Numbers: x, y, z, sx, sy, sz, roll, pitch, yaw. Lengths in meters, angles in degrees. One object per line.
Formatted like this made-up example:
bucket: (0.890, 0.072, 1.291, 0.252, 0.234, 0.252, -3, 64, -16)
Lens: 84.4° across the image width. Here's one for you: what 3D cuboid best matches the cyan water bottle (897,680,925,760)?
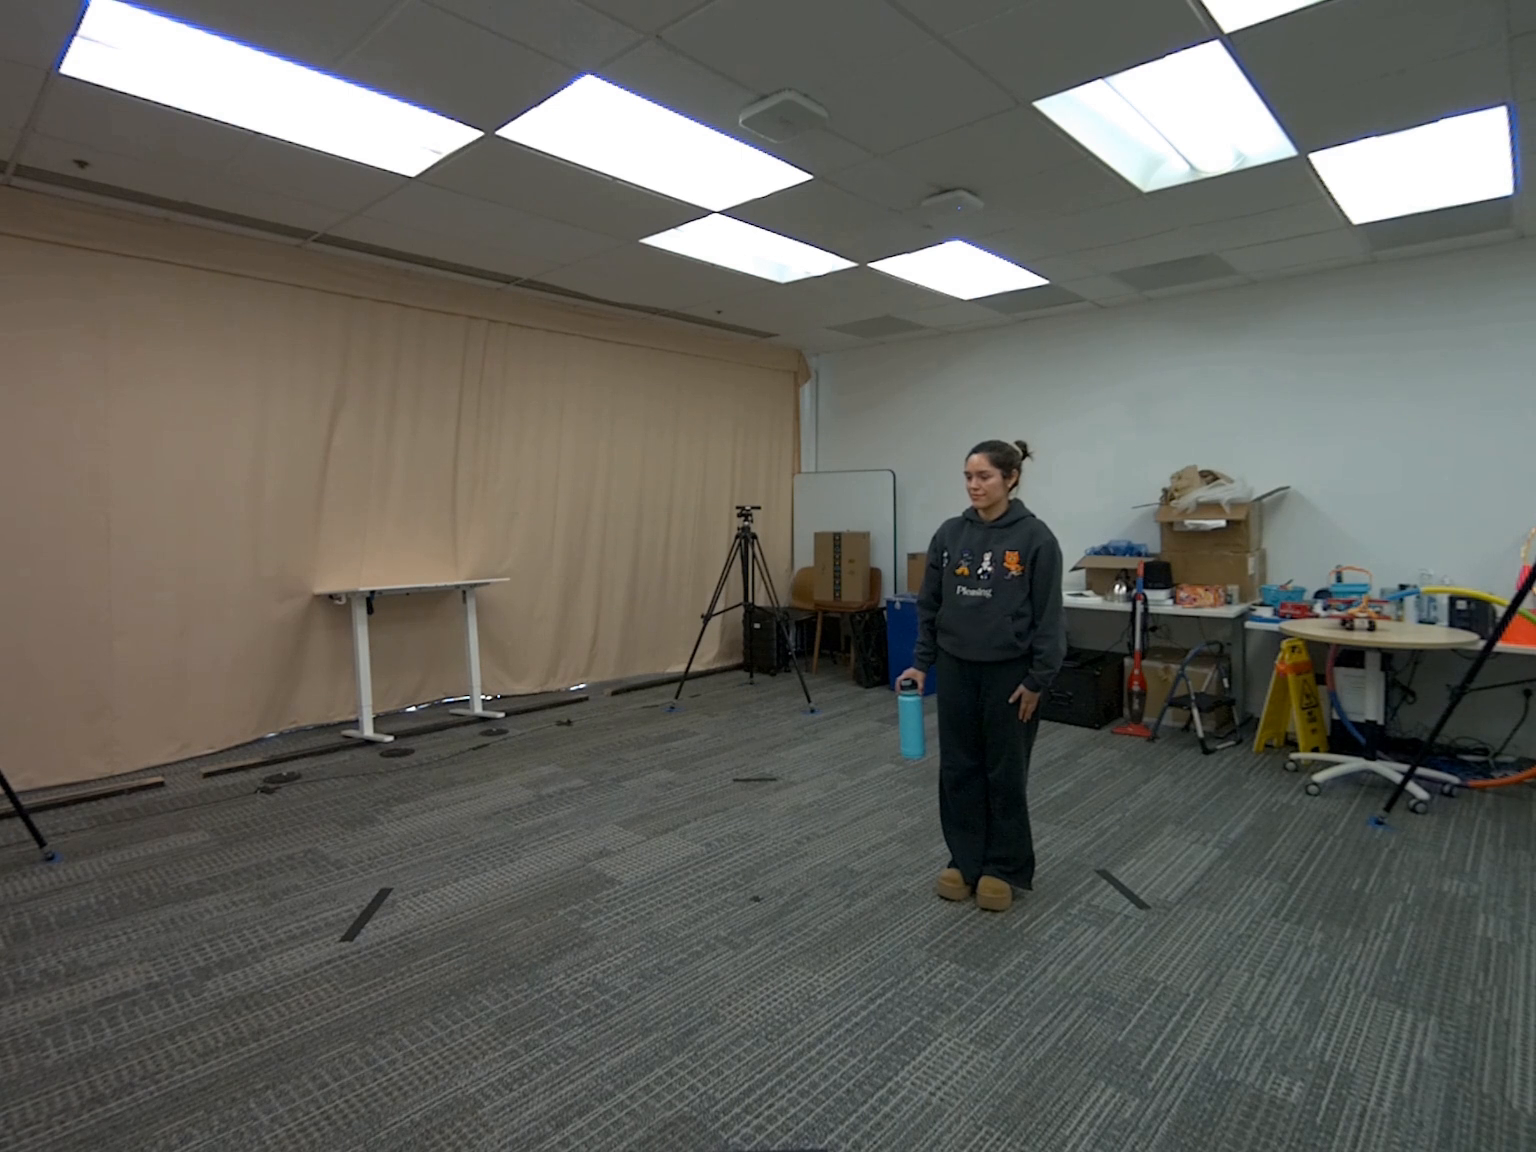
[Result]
cyan water bottle: (0.560, 0.521, 3.107, 0.092, 0.283, 0.092, -5, 3, -1)
